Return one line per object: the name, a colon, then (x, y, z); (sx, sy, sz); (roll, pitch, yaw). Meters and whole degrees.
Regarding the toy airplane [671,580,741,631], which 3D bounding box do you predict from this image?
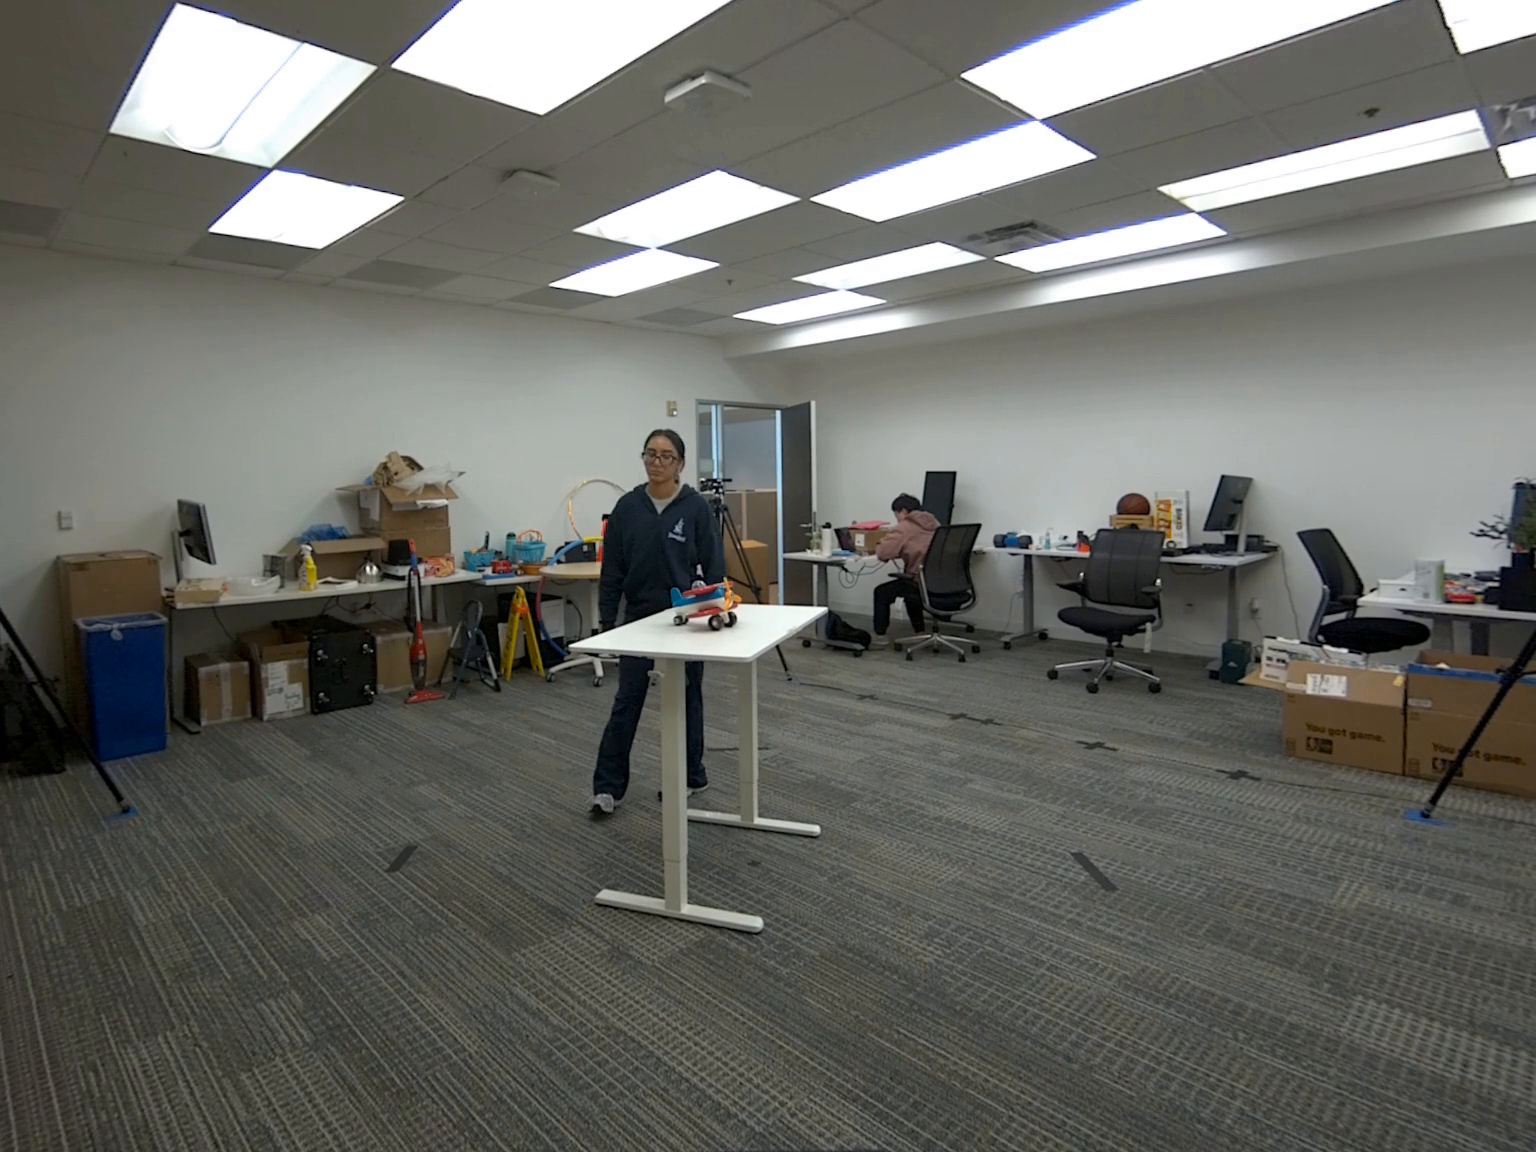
toy airplane: (-0.237, 0.108, 2.972); (0.260, 0.156, 0.251); (0, 5, 2)
